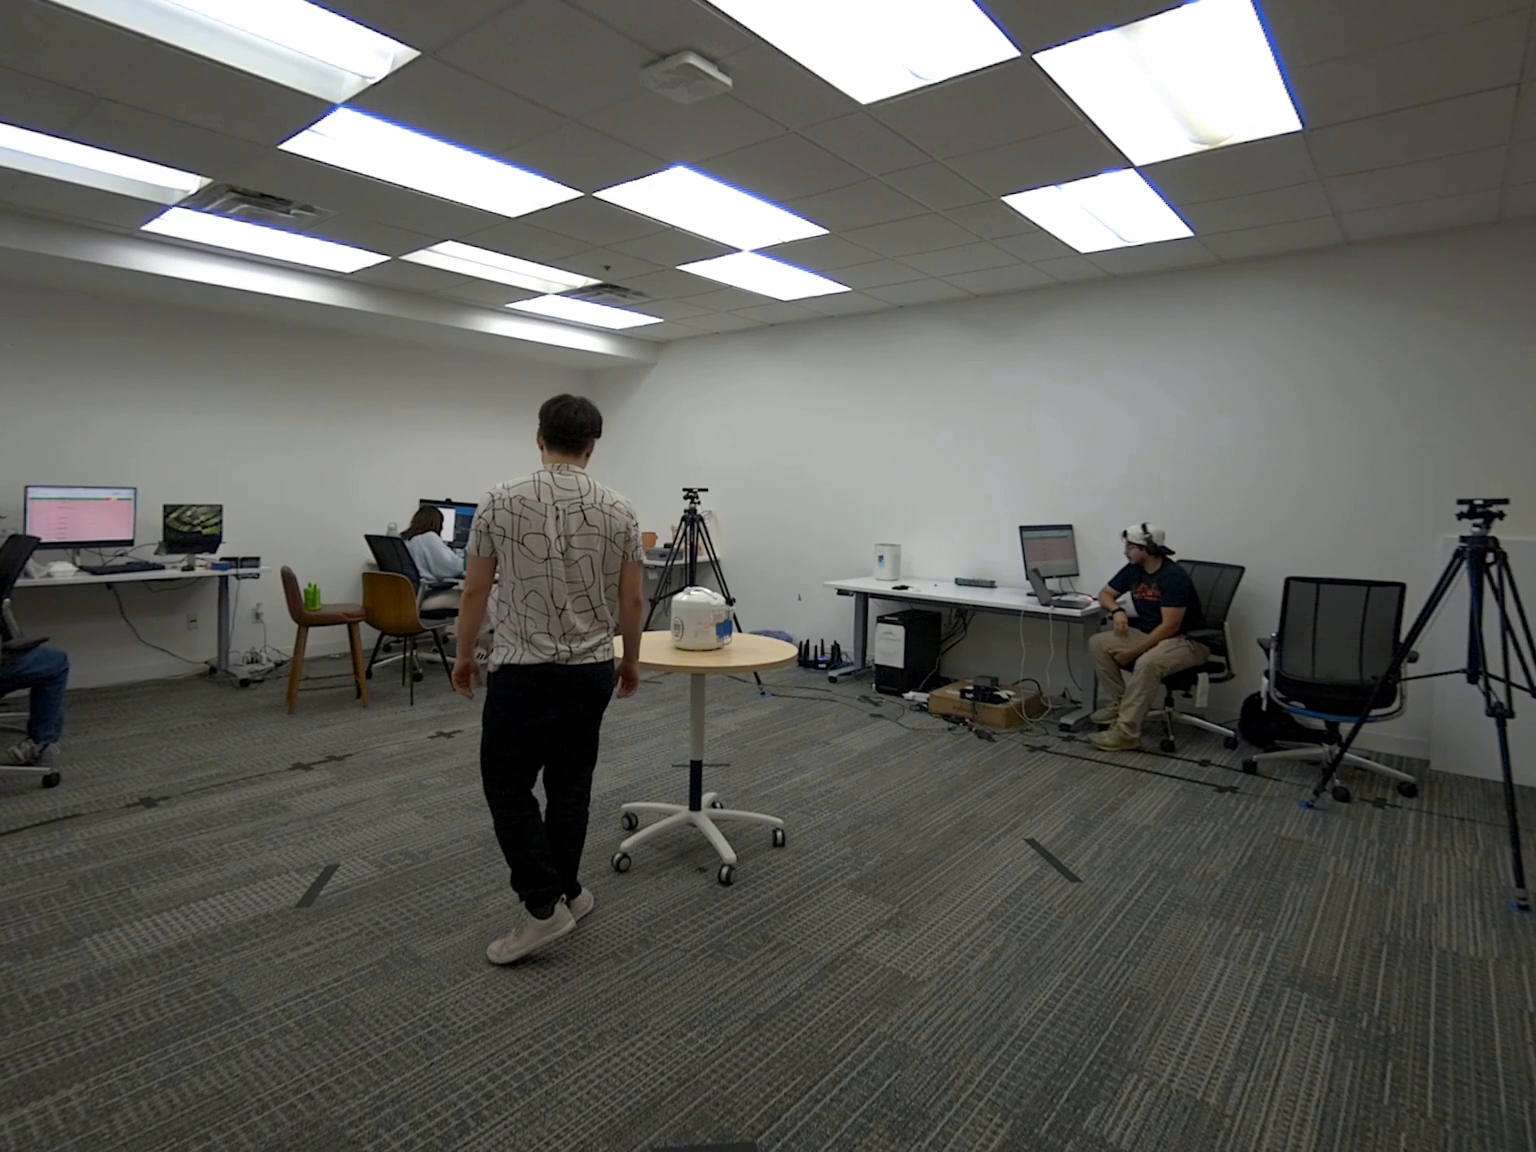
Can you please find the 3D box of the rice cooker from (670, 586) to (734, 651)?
[{"bbox_3d":[-0.275,0.155,3.261,0.228,0.232,0.211,7,5,43],"label":"rice cooker"}]
